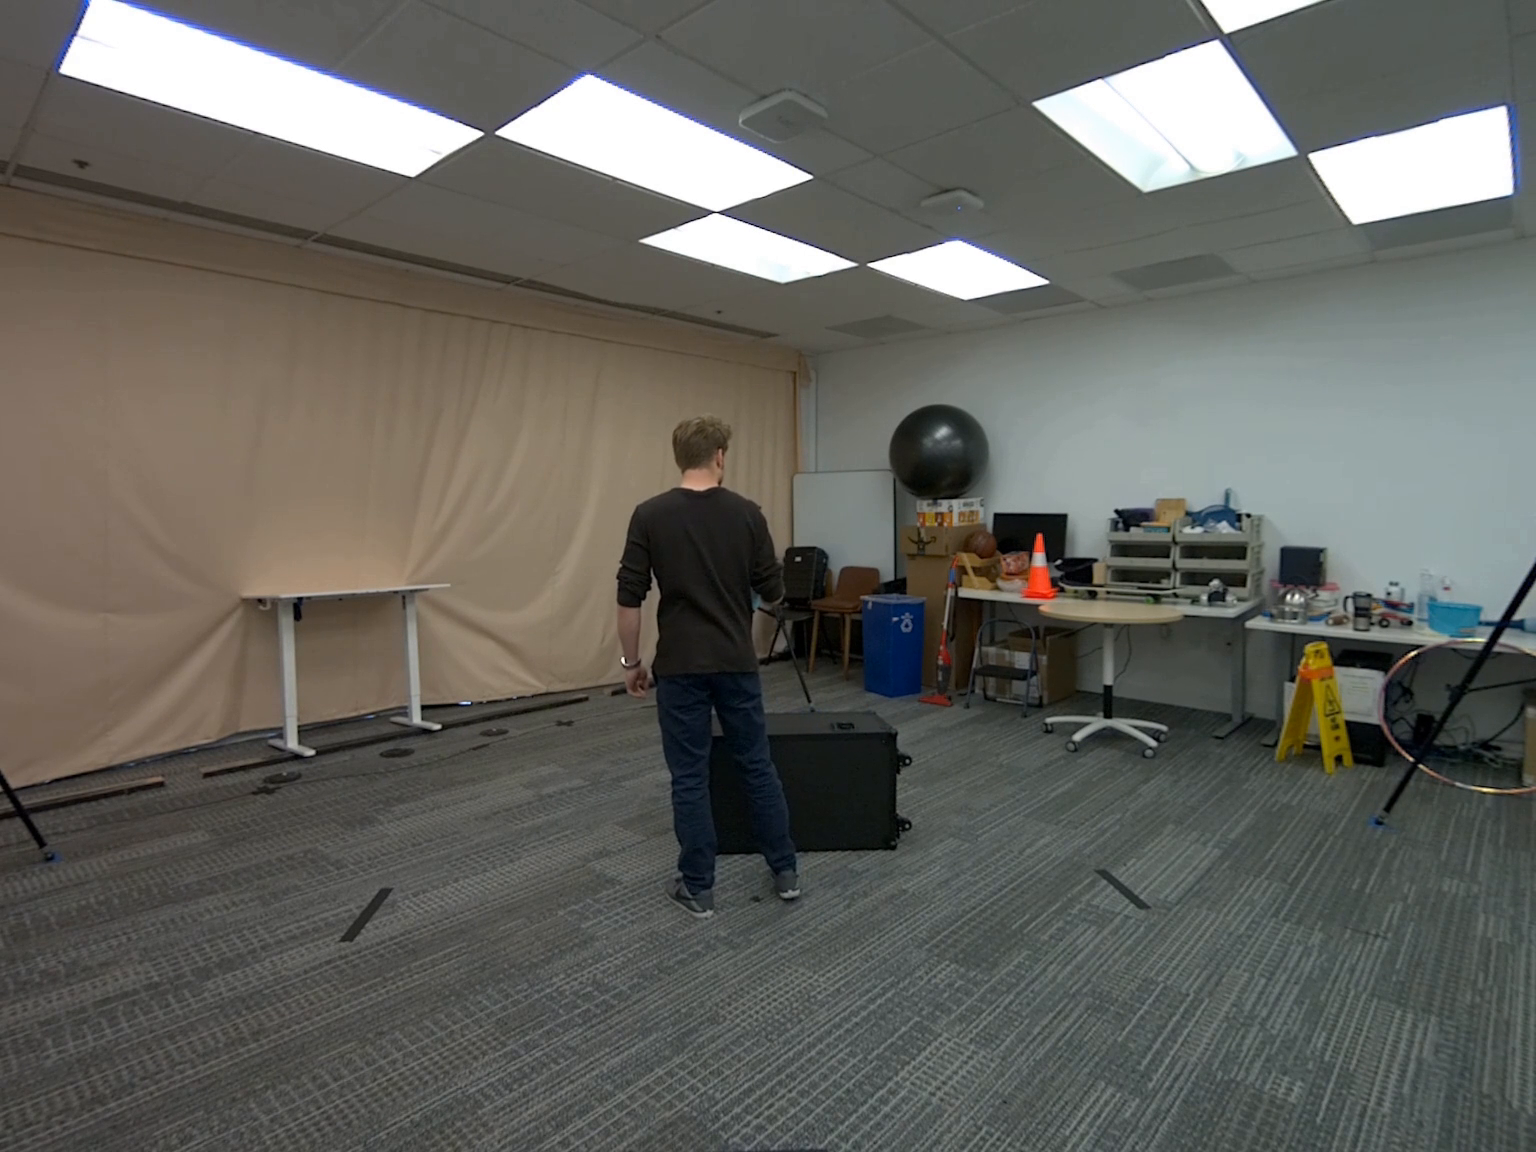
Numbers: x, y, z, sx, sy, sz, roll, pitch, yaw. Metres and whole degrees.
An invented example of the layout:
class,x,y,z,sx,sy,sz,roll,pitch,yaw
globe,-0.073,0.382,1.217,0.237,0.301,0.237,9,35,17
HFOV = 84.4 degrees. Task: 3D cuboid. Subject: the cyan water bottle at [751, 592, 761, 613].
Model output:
class,x,y,z,sx,sy,sz,roll,pitch,yaw
cyan water bottle,-0.049,-0.017,3.293,0.092,0.283,0.093,12,6,-3
